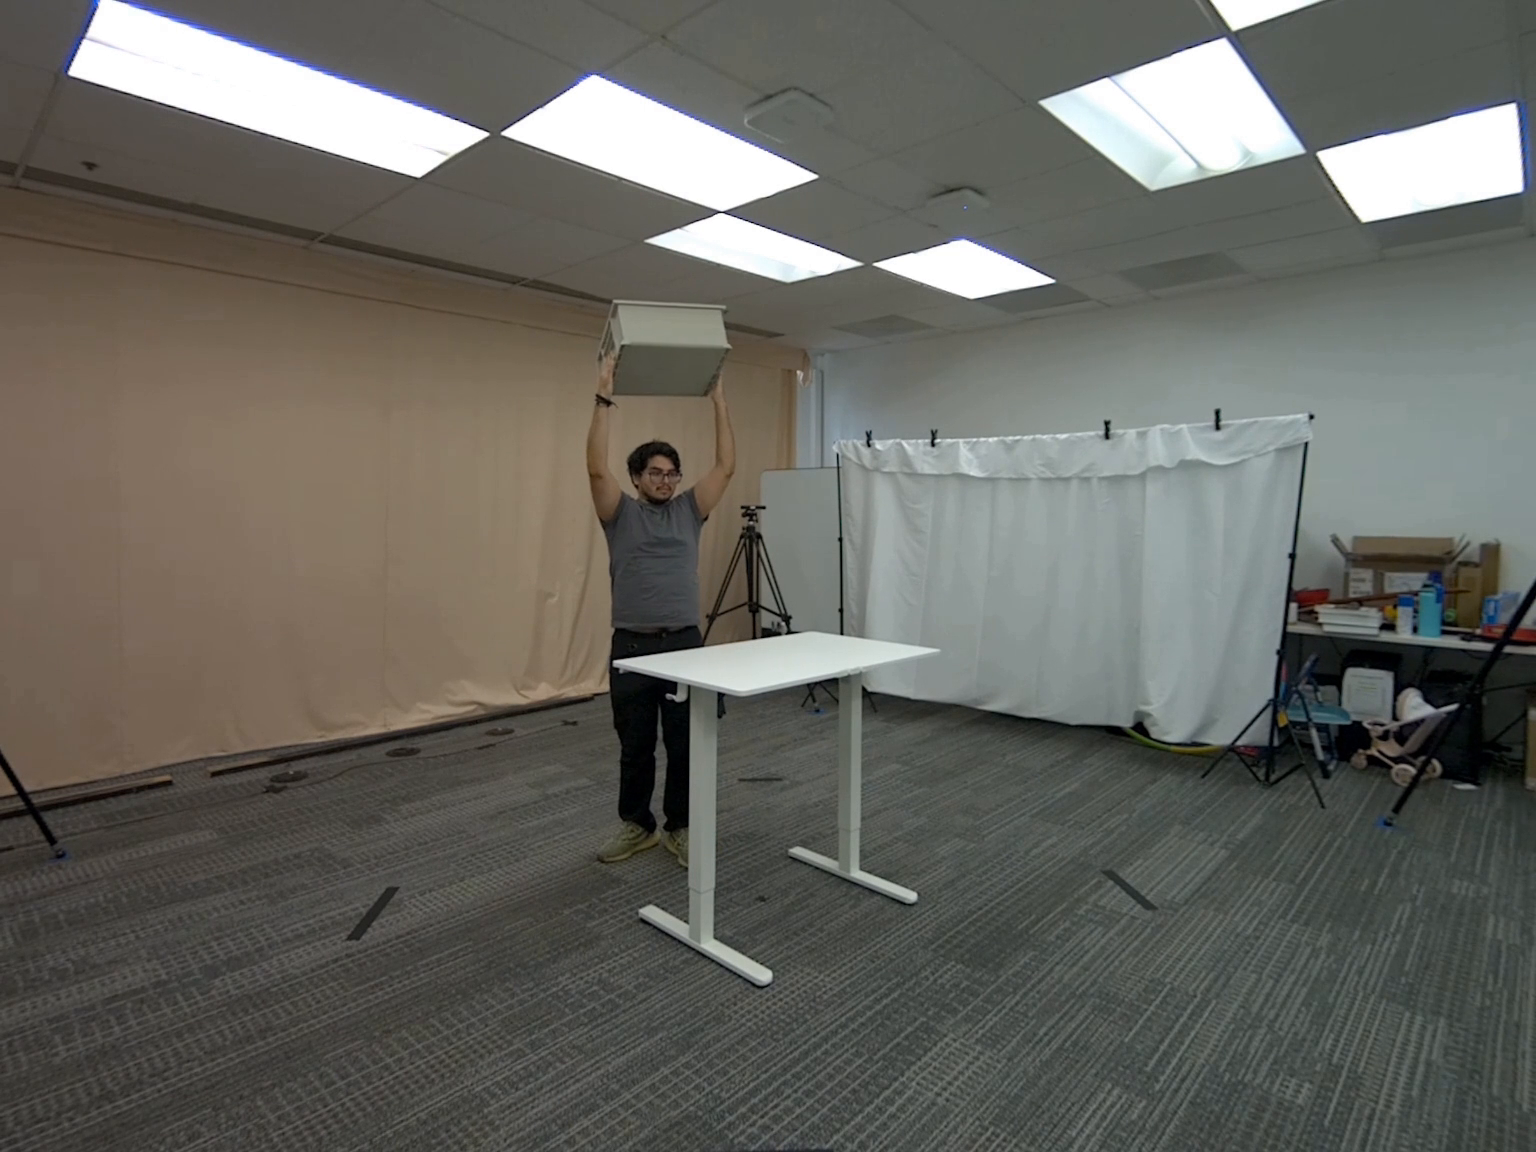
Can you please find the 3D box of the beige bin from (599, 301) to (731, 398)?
[{"bbox_3d":[-0.395,-0.820,3.138,0.414,0.192,0.379,-2,-21,-22],"label":"beige bin"}]
